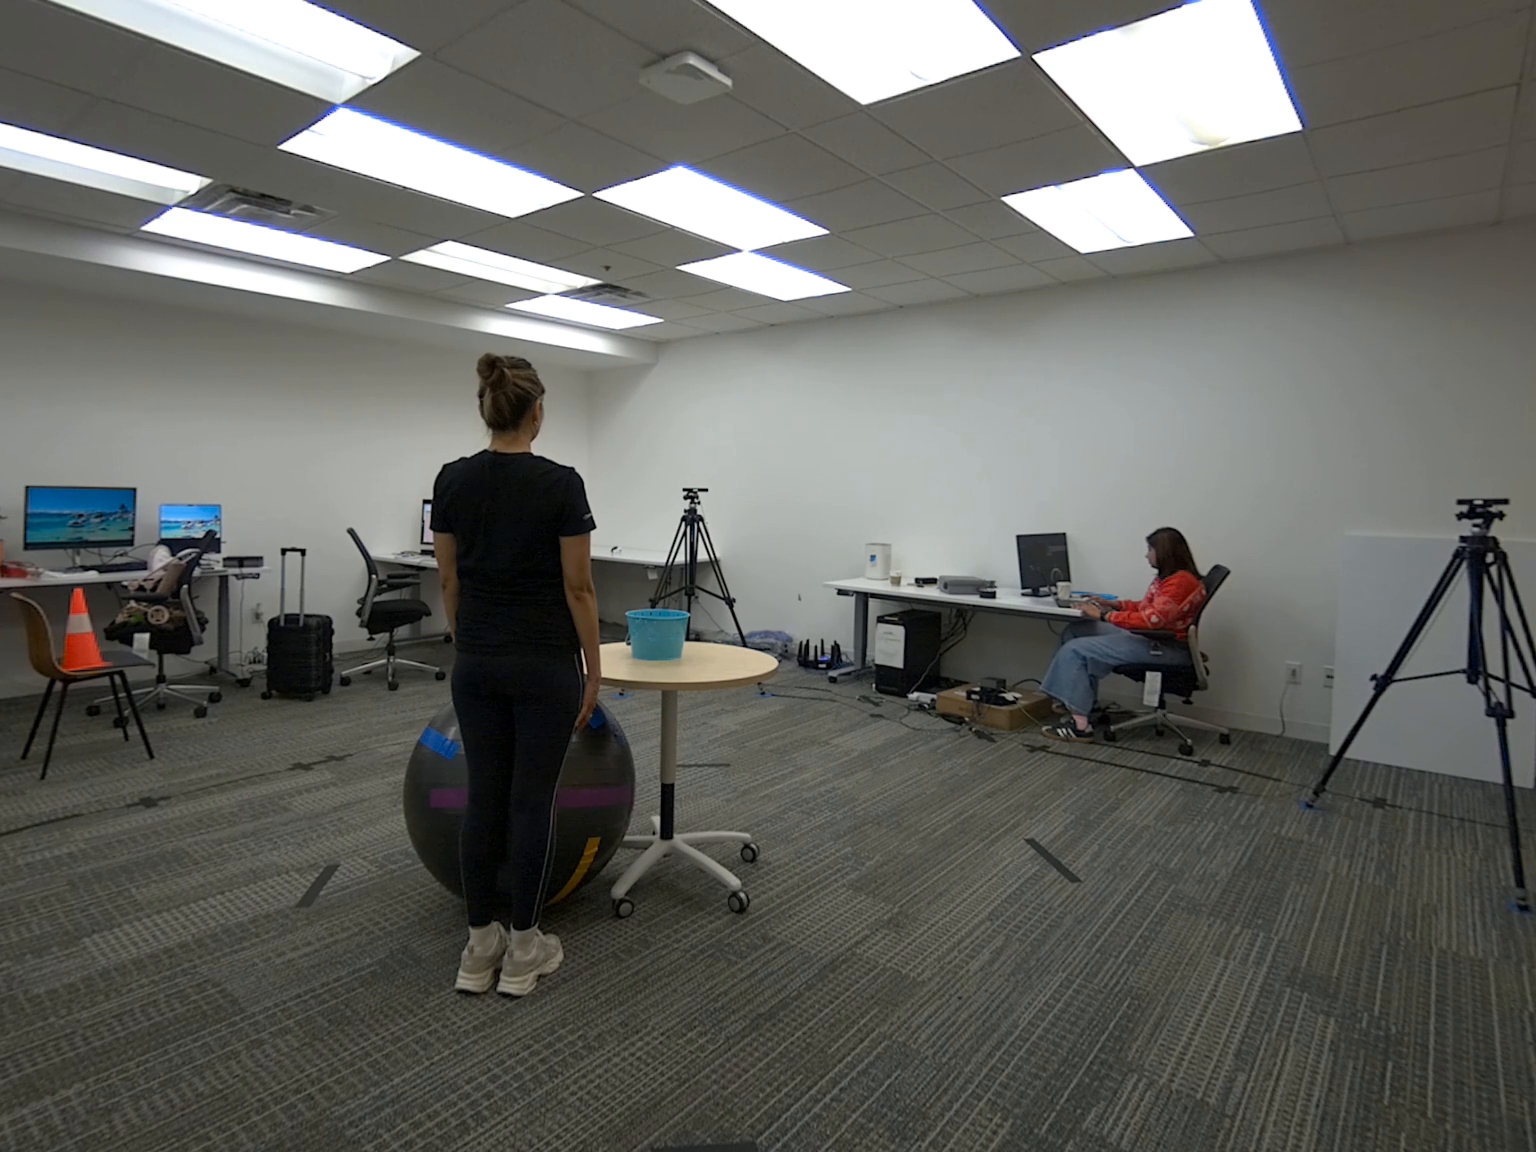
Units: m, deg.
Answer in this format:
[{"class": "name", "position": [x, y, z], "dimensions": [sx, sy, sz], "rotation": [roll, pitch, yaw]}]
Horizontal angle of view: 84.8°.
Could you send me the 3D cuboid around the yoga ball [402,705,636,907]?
[{"class": "yoga ball", "position": [-0.853, 0.724, 2.851], "dimensions": [0.757, 0.756, 0.761], "rotation": [1, 4, -2]}]
